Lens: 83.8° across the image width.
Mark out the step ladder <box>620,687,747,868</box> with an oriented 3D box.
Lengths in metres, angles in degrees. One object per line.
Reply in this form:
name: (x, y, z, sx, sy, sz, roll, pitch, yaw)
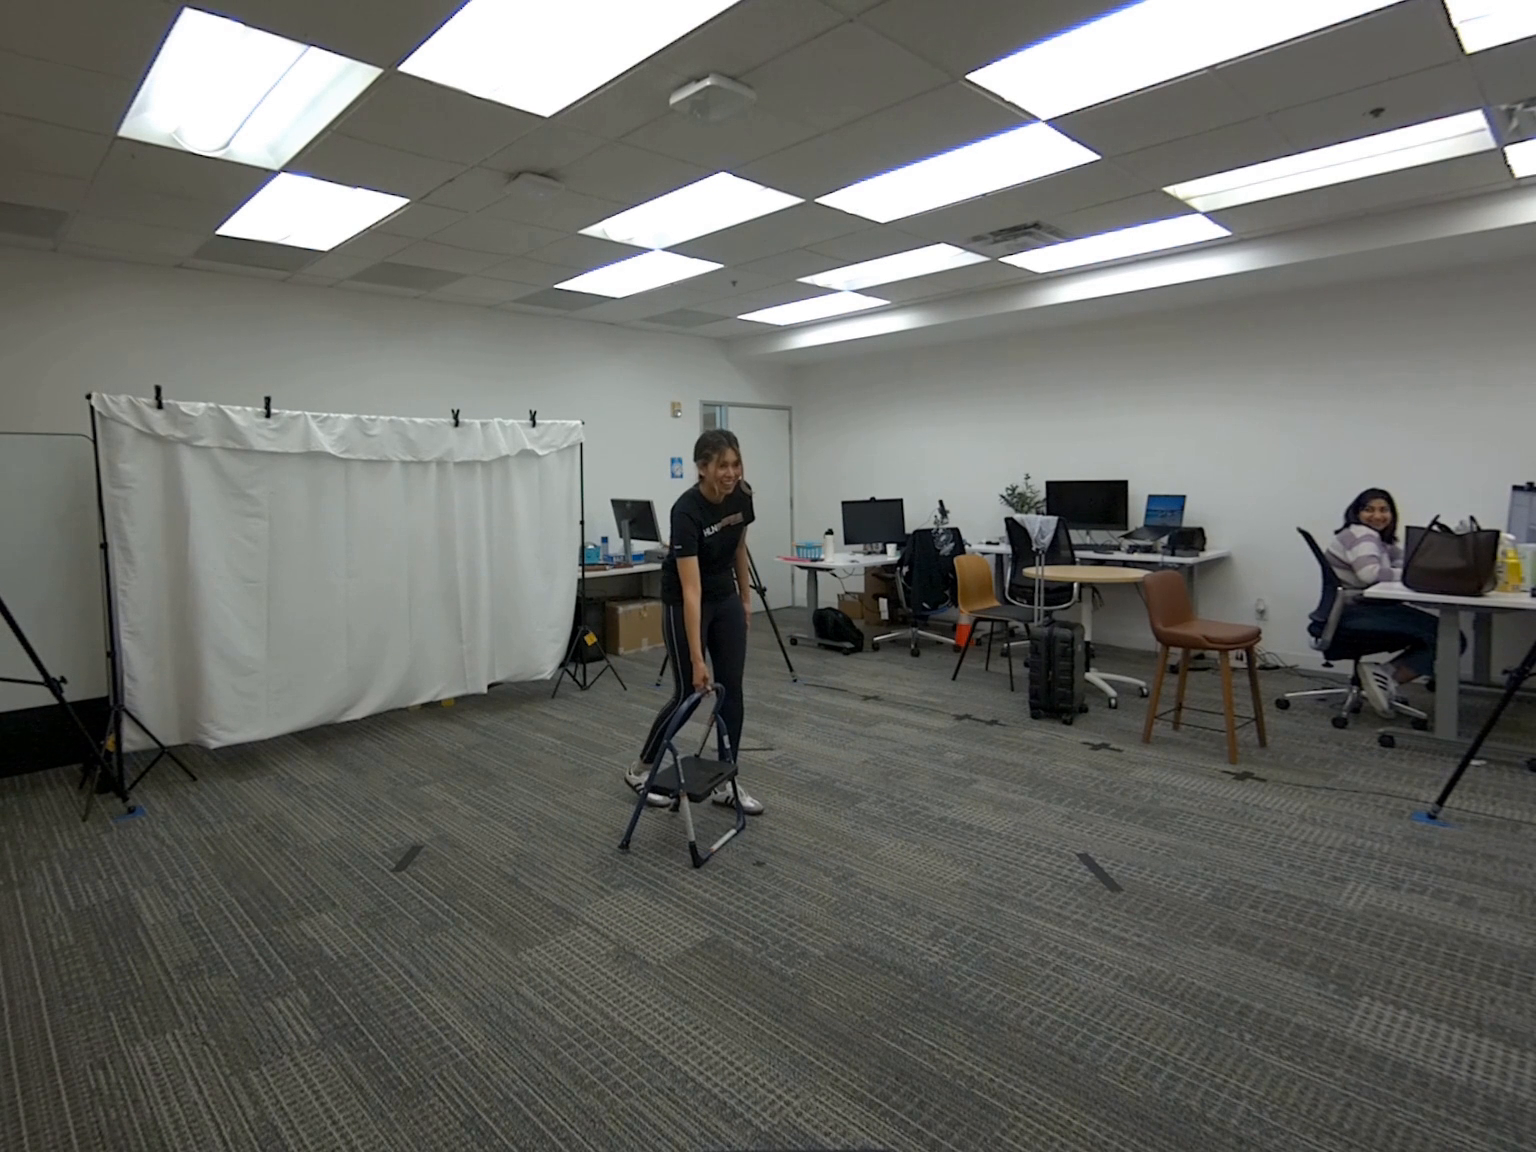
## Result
step ladder: (-0.316, 0.727, 3.307, 0.357, 0.603, 0.423, 3, 6, 23)
